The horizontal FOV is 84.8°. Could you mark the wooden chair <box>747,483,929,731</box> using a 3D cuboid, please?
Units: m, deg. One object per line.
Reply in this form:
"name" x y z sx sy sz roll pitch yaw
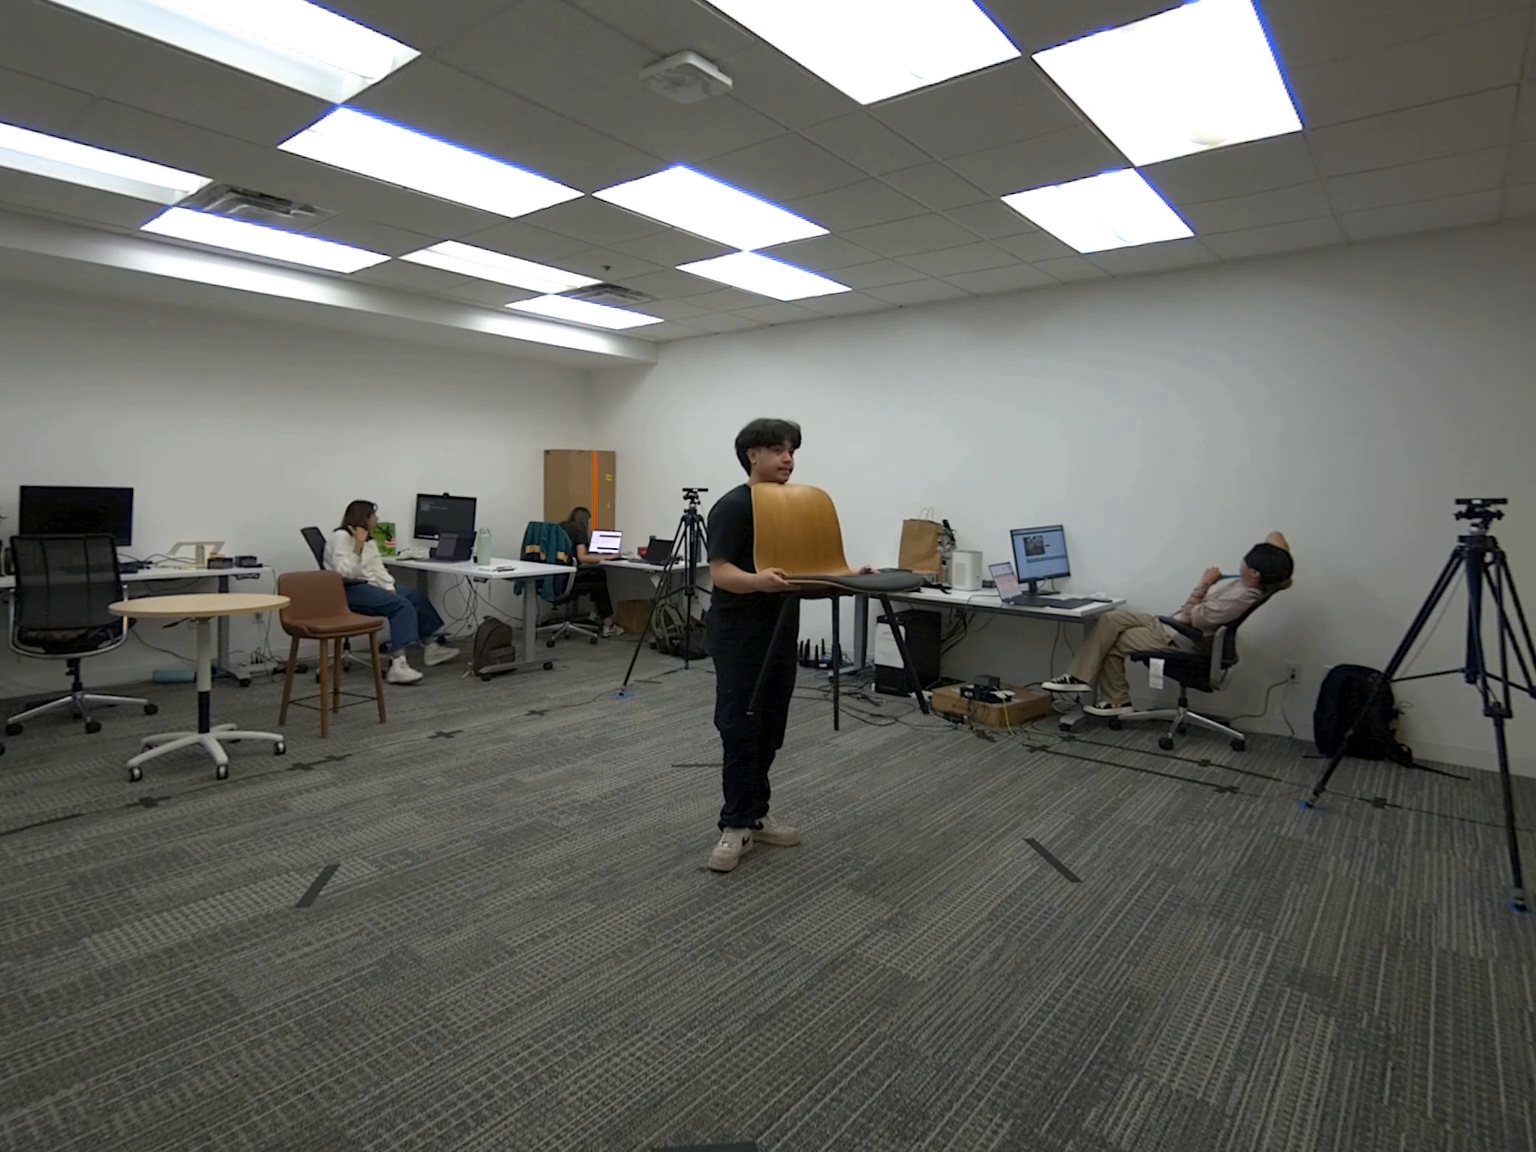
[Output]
"wooden chair" 0.236 0.066 3.022 0.463 0.883 0.536 1 -7 -38
